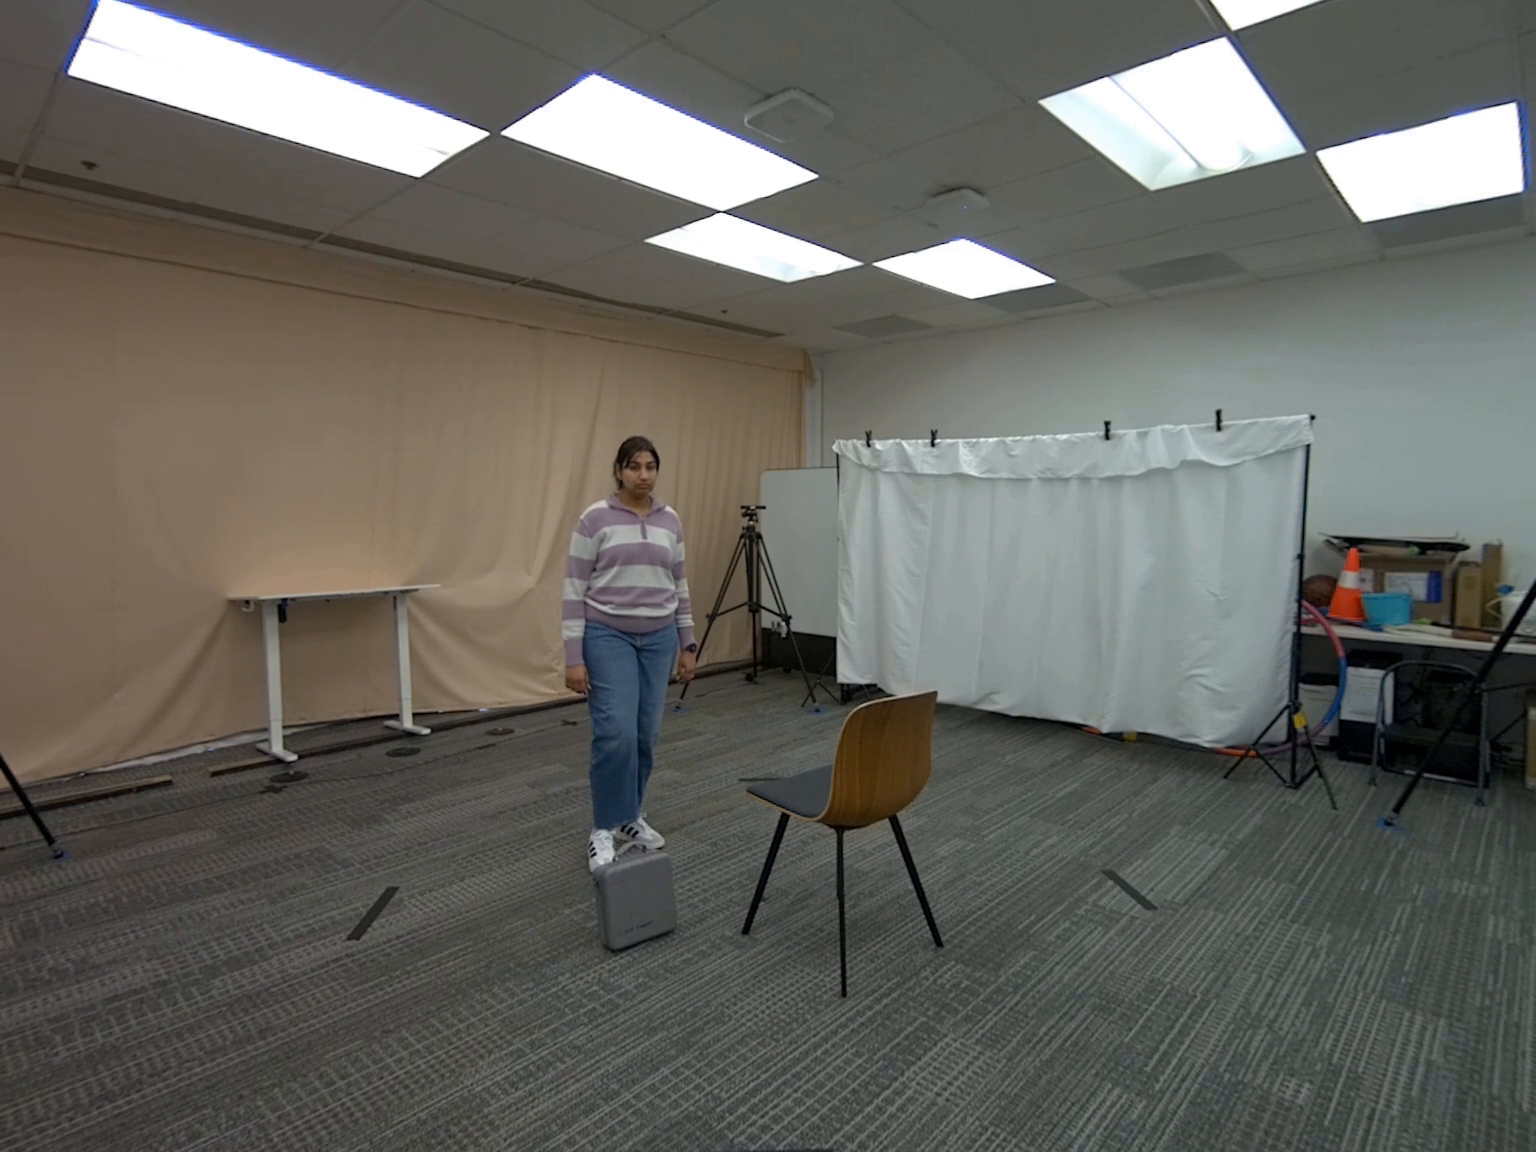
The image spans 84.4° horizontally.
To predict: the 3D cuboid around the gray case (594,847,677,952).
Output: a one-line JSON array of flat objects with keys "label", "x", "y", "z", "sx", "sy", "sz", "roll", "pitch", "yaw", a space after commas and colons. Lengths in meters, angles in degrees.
[{"label": "gray case", "x": -0.425, "y": 1.031, "z": 2.721, "sx": 0.250, "sy": 0.261, "sz": 0.107, "roll": -3, "pitch": -2, "yaw": -31}]
